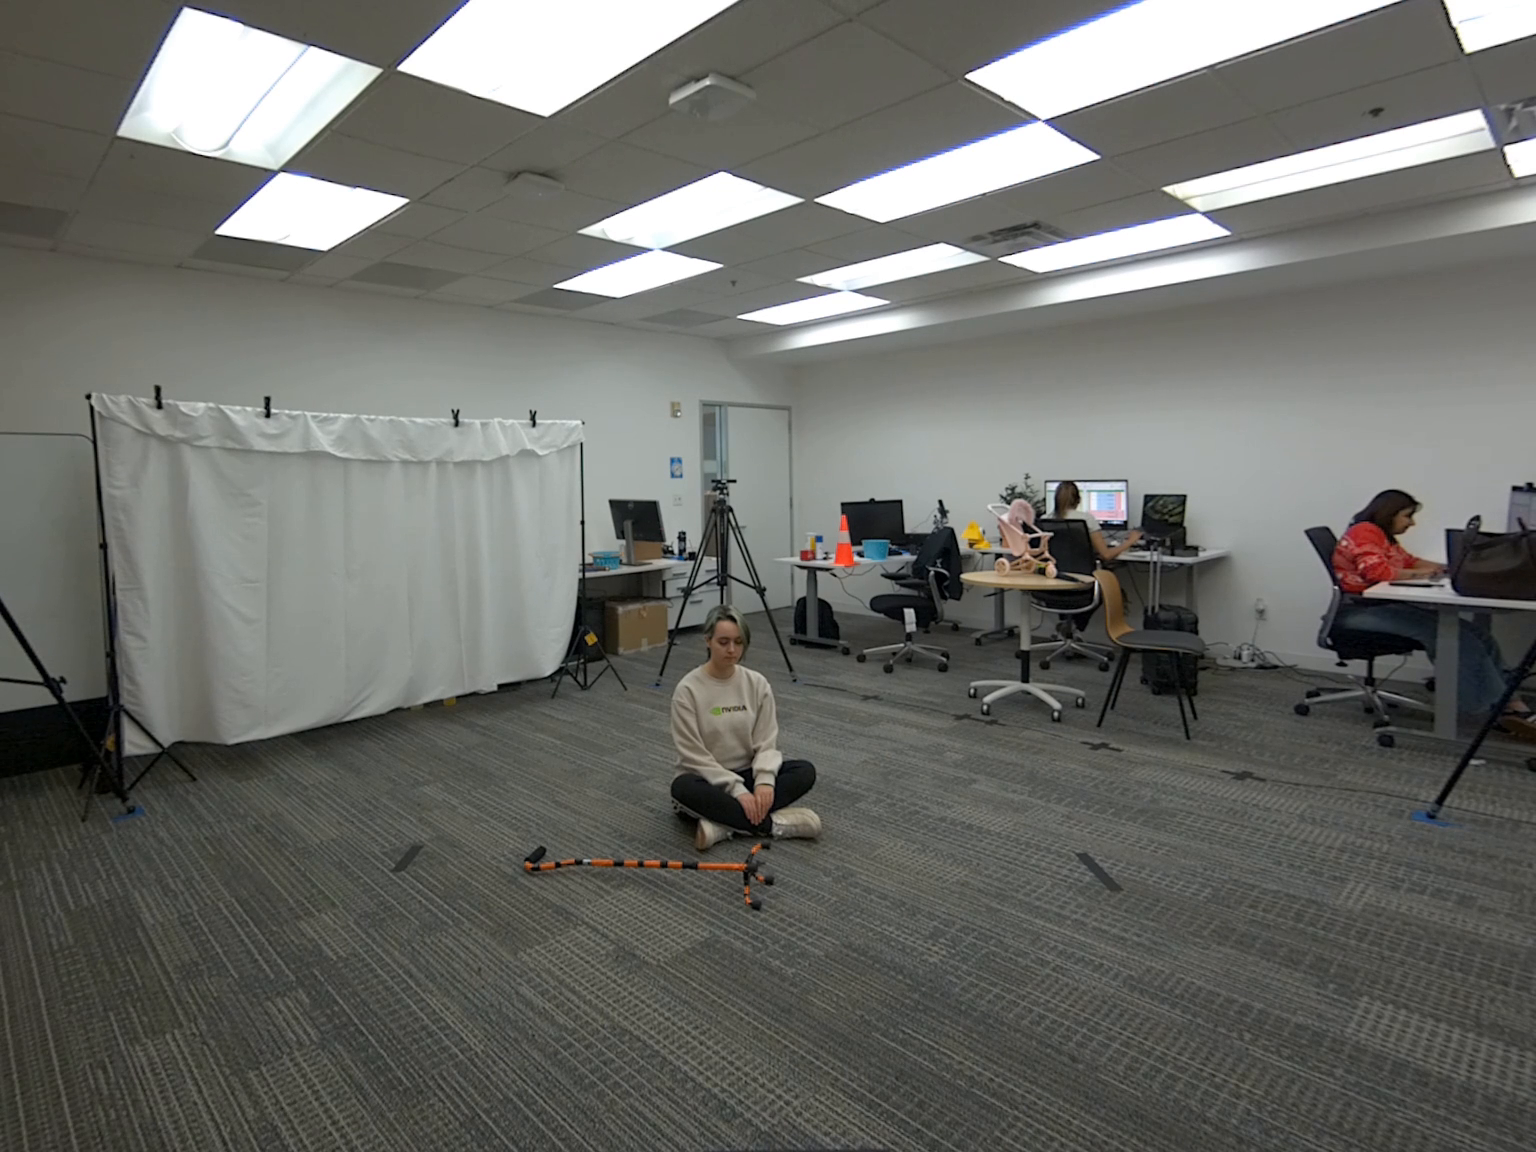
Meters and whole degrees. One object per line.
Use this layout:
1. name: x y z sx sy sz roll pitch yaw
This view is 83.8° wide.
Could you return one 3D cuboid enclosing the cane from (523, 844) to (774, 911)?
1. cane: -0.445 1.021 2.992 0.922 0.151 0.204 -4 6 18
